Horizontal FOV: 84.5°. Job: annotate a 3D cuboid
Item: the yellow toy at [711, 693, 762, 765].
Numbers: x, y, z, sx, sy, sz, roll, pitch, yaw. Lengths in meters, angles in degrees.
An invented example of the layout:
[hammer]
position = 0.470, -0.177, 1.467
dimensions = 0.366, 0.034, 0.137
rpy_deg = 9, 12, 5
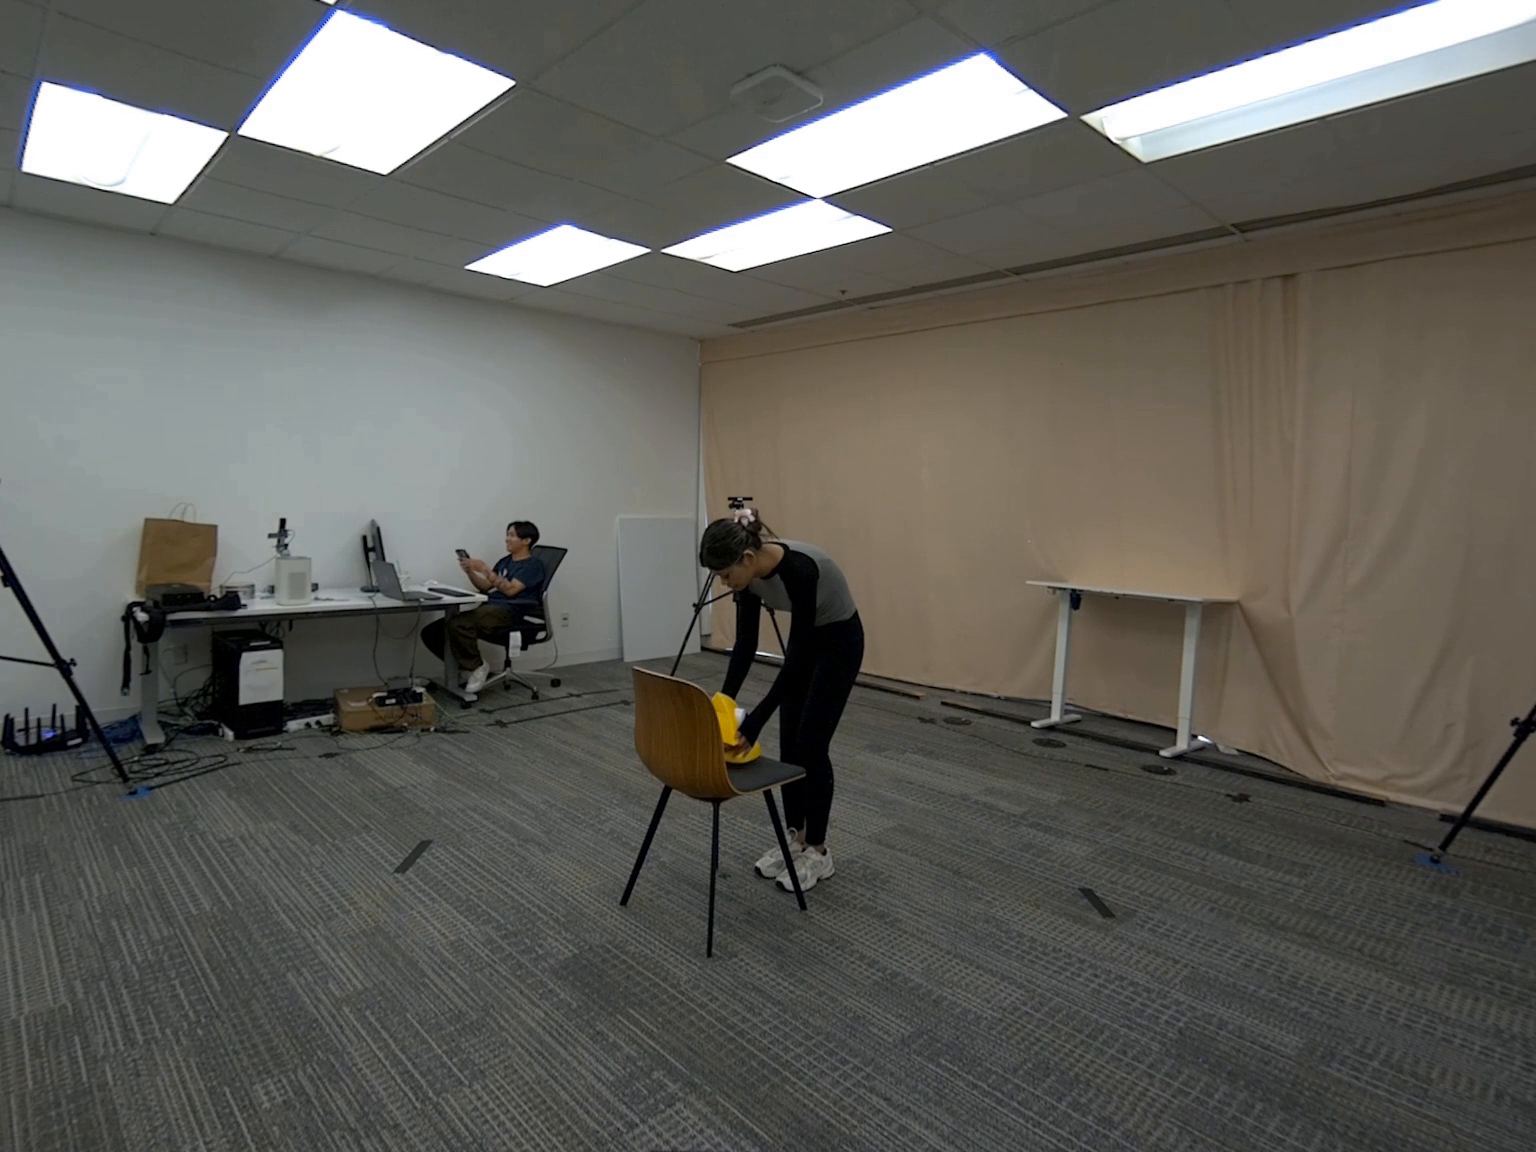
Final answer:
[yellow toy]
position = -0.130, 0.496, 2.906
dimensions = 0.210, 0.229, 0.189
rpy_deg = 7, 12, 42
